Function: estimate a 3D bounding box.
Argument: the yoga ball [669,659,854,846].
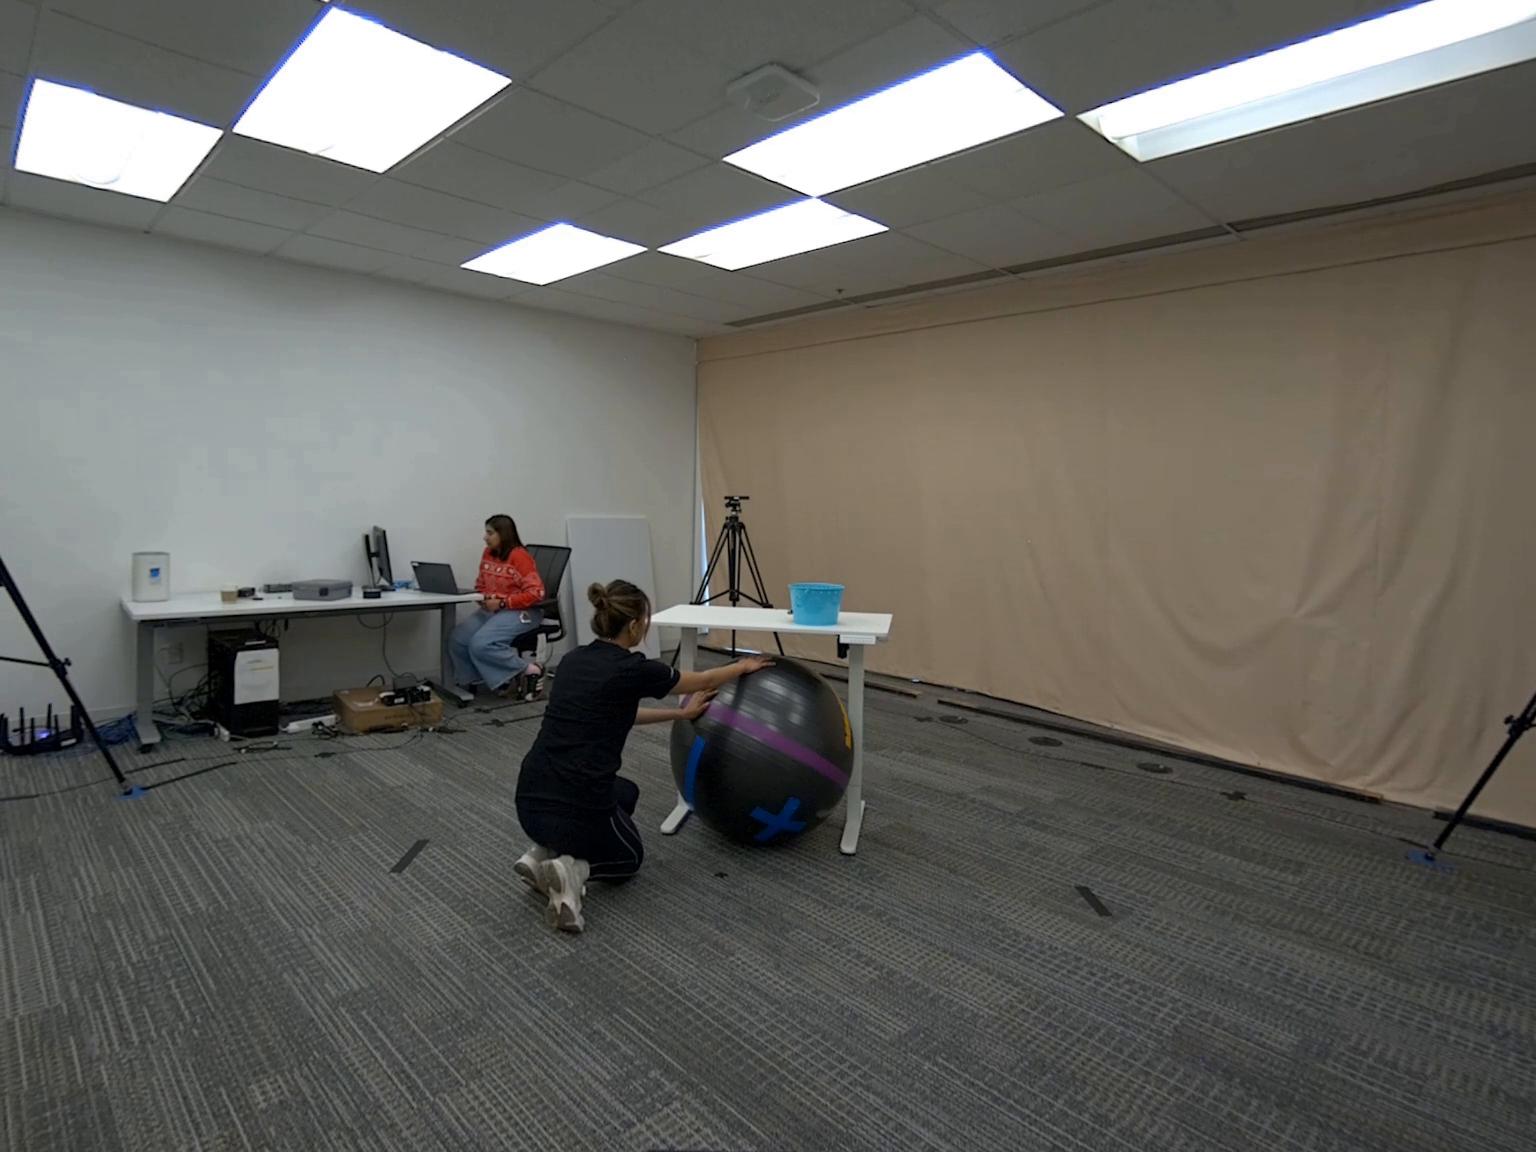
[{"bbox_3d":[-0.028,0.719,3.474,0.757,0.756,0.761,1,4,-1],"label":"yoga ball"}]
